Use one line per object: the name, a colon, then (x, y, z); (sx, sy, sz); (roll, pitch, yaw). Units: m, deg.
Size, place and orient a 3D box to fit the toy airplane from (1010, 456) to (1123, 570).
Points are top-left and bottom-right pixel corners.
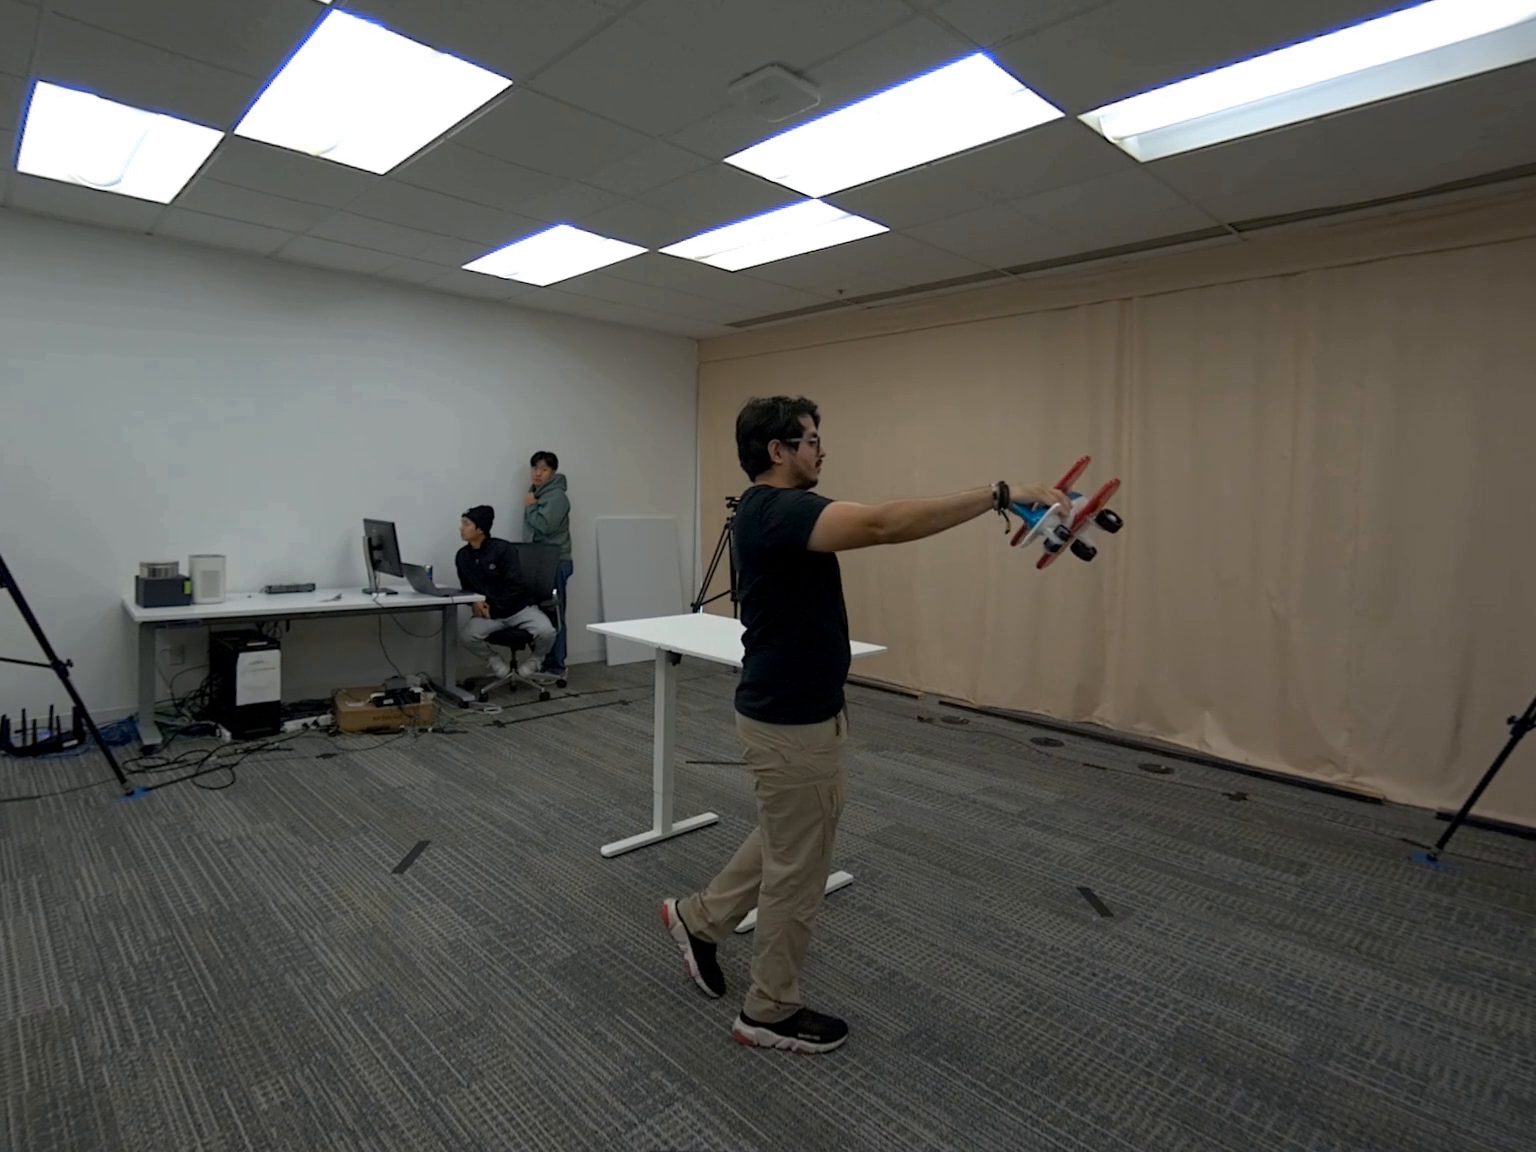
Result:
toy airplane: (0.636, -0.131, 1.793); (0.161, 0.251, 0.251); (54, 10, 32)
